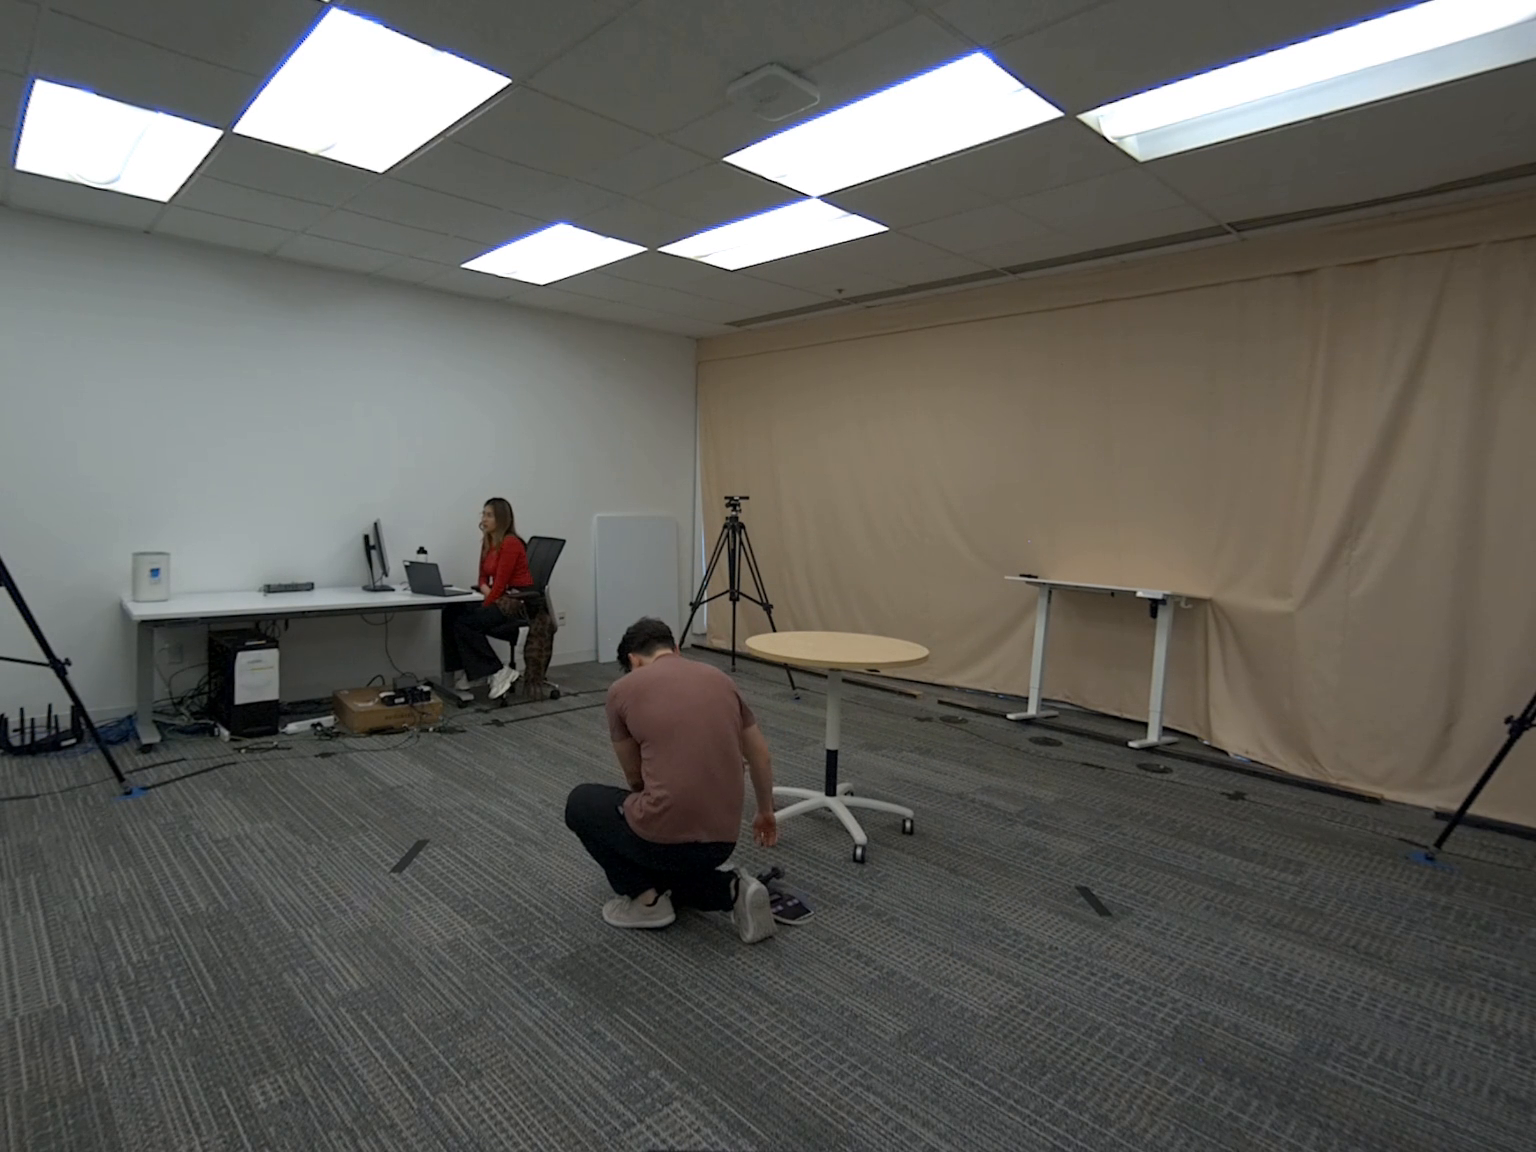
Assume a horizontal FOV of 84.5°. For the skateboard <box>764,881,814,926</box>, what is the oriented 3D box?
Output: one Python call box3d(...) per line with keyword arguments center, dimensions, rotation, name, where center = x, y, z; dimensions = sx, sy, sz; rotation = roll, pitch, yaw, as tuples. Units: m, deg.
box3d(center=(-0.175, 1.064, 3.026), dimensions=(0.805, 0.110, 0.189), rotation=(6, 6, 39), name="skateboard")
